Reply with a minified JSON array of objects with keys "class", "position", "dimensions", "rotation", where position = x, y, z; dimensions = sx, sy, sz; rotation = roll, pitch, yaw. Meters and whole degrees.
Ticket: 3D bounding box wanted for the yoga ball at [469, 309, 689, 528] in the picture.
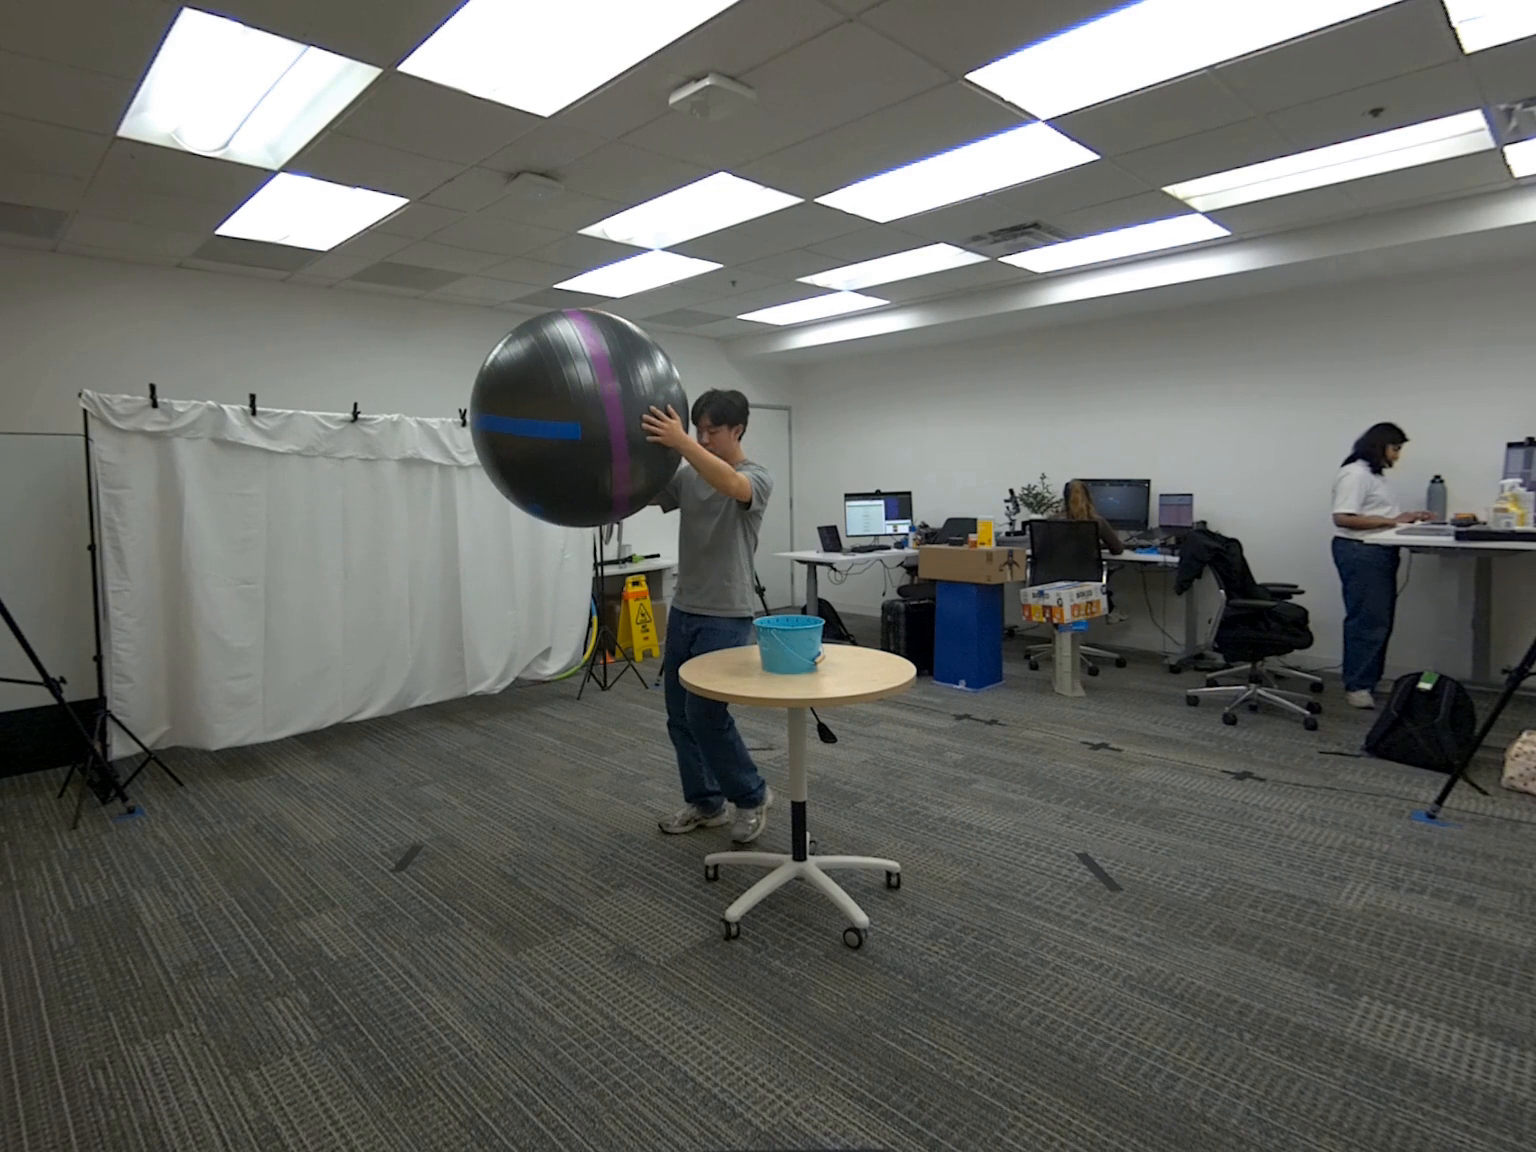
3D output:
[{"class":"yoga ball","position":[-0.652,-0.542,3.016],"dimensions":[0.757,0.755,0.762],"rotation":[-1,5,-2]}]
